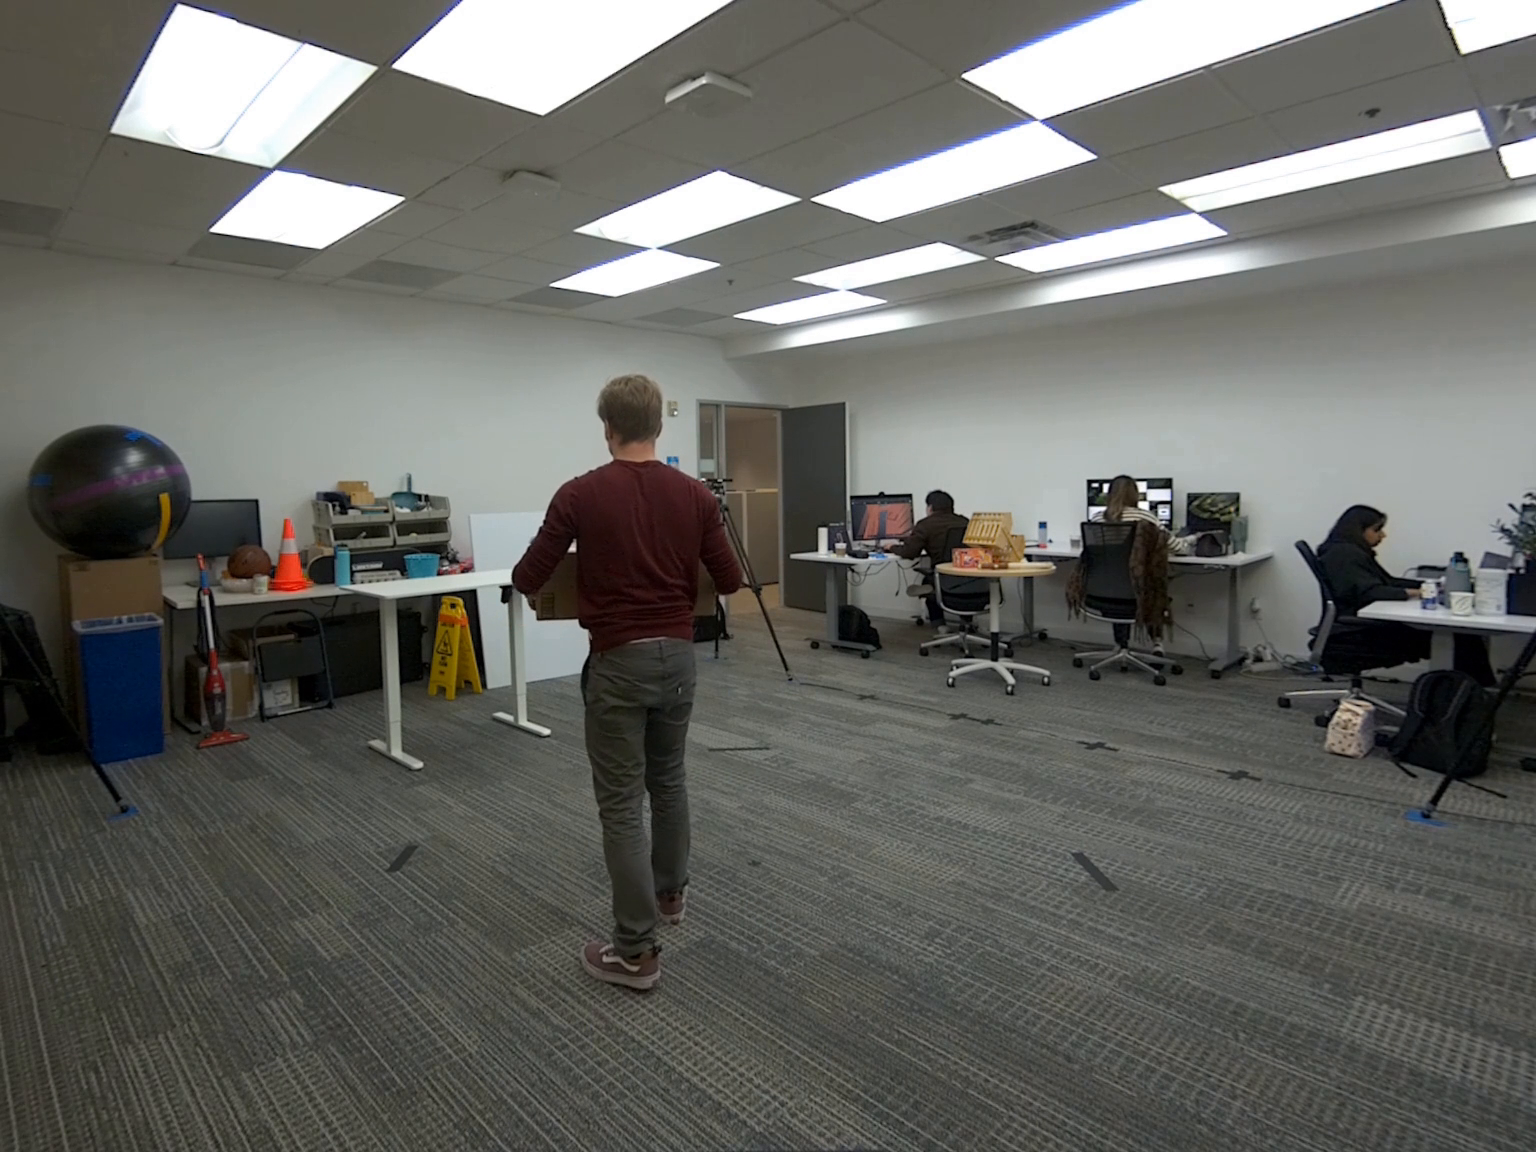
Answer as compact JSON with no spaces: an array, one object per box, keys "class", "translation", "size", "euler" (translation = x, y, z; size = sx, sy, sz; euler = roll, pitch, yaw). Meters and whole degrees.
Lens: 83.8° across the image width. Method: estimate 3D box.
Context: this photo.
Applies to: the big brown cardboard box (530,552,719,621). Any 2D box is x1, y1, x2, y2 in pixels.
[{"class":"big brown cardboard box","translation":[-0.490,-0.006,2.859],"size":[0.580,0.232,0.427],"euler":[0,9,-16]}]
